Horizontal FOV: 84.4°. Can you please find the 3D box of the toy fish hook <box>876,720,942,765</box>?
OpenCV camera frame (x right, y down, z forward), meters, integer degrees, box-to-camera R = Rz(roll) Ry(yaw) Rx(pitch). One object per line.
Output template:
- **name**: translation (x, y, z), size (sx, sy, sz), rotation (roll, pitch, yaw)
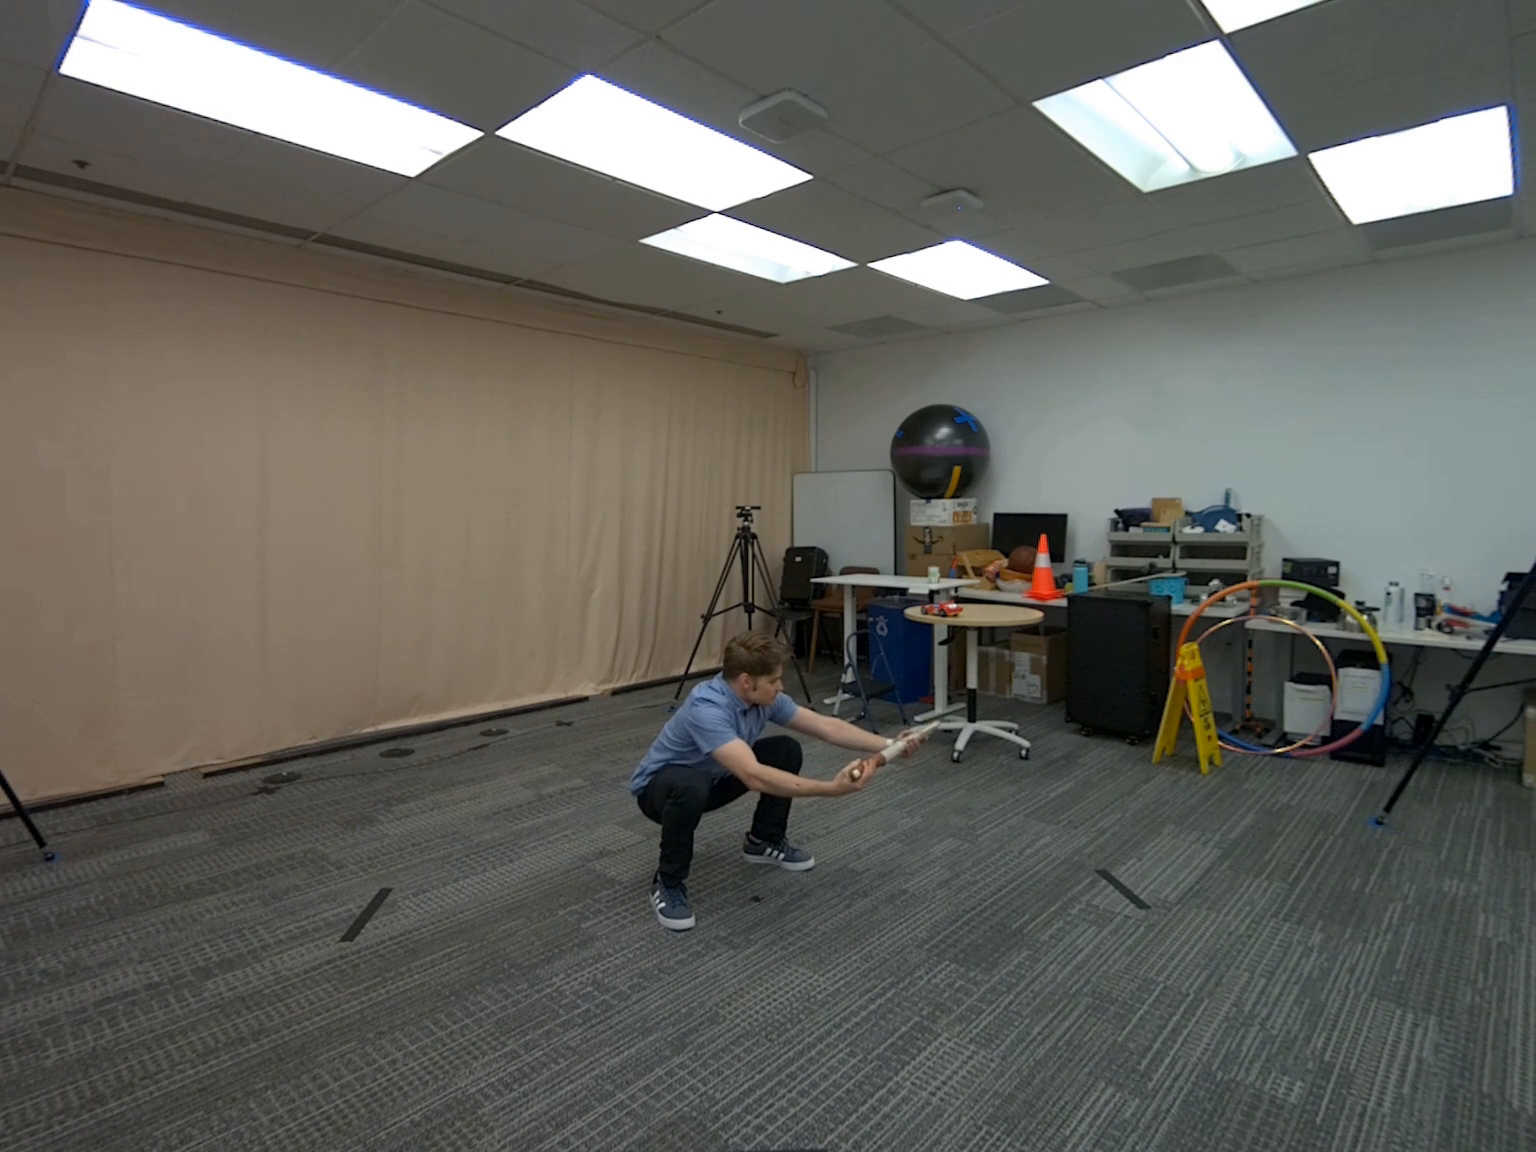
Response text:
- **toy fish hook**: translation (0.432, 0.579, 2.810), size (0.226, 0.049, 0.493), rotation (-43, -16, 30)
